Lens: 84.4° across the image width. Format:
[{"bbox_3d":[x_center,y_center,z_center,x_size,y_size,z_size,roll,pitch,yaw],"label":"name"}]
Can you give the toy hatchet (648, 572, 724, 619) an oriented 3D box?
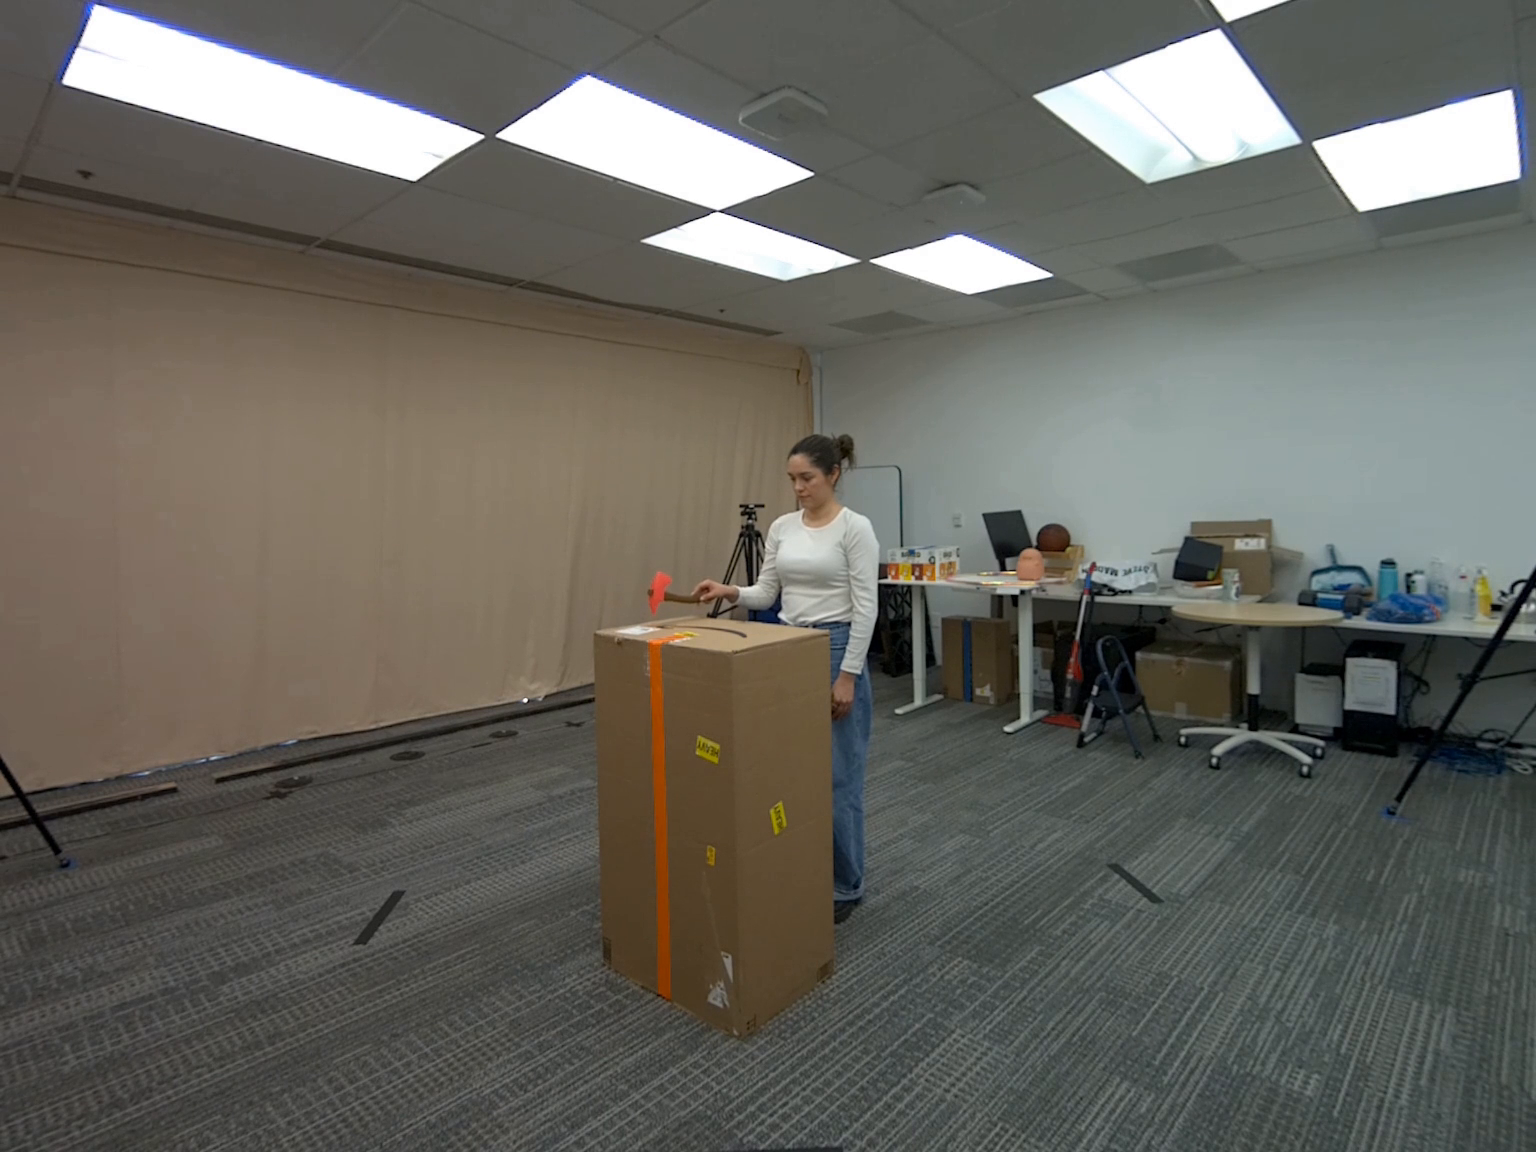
[{"bbox_3d":[-0.281,0.047,2.708,0.262,0.131,0.030,-9,4,-43],"label":"toy hatchet"}]
